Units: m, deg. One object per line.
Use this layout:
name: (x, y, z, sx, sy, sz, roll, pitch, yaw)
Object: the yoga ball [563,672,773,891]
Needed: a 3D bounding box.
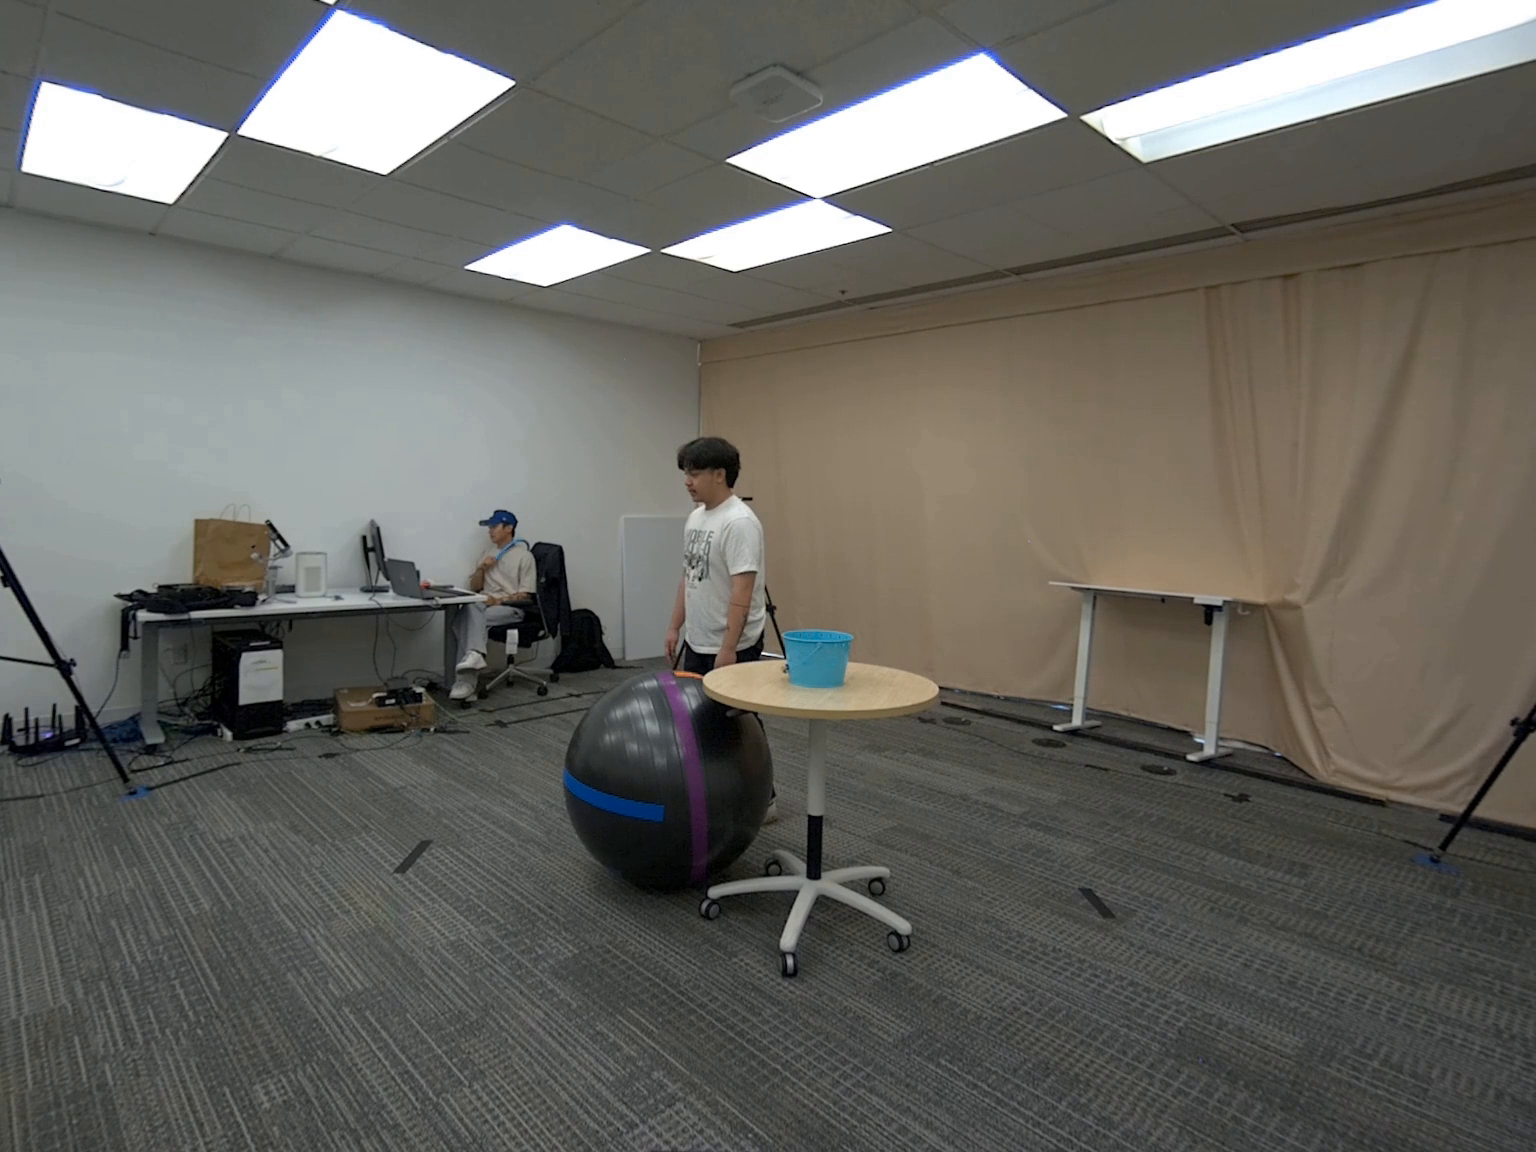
yoga ball: (-0.372, 0.736, 3.073, 0.757, 0.756, 0.761, 1, 4, -1)
